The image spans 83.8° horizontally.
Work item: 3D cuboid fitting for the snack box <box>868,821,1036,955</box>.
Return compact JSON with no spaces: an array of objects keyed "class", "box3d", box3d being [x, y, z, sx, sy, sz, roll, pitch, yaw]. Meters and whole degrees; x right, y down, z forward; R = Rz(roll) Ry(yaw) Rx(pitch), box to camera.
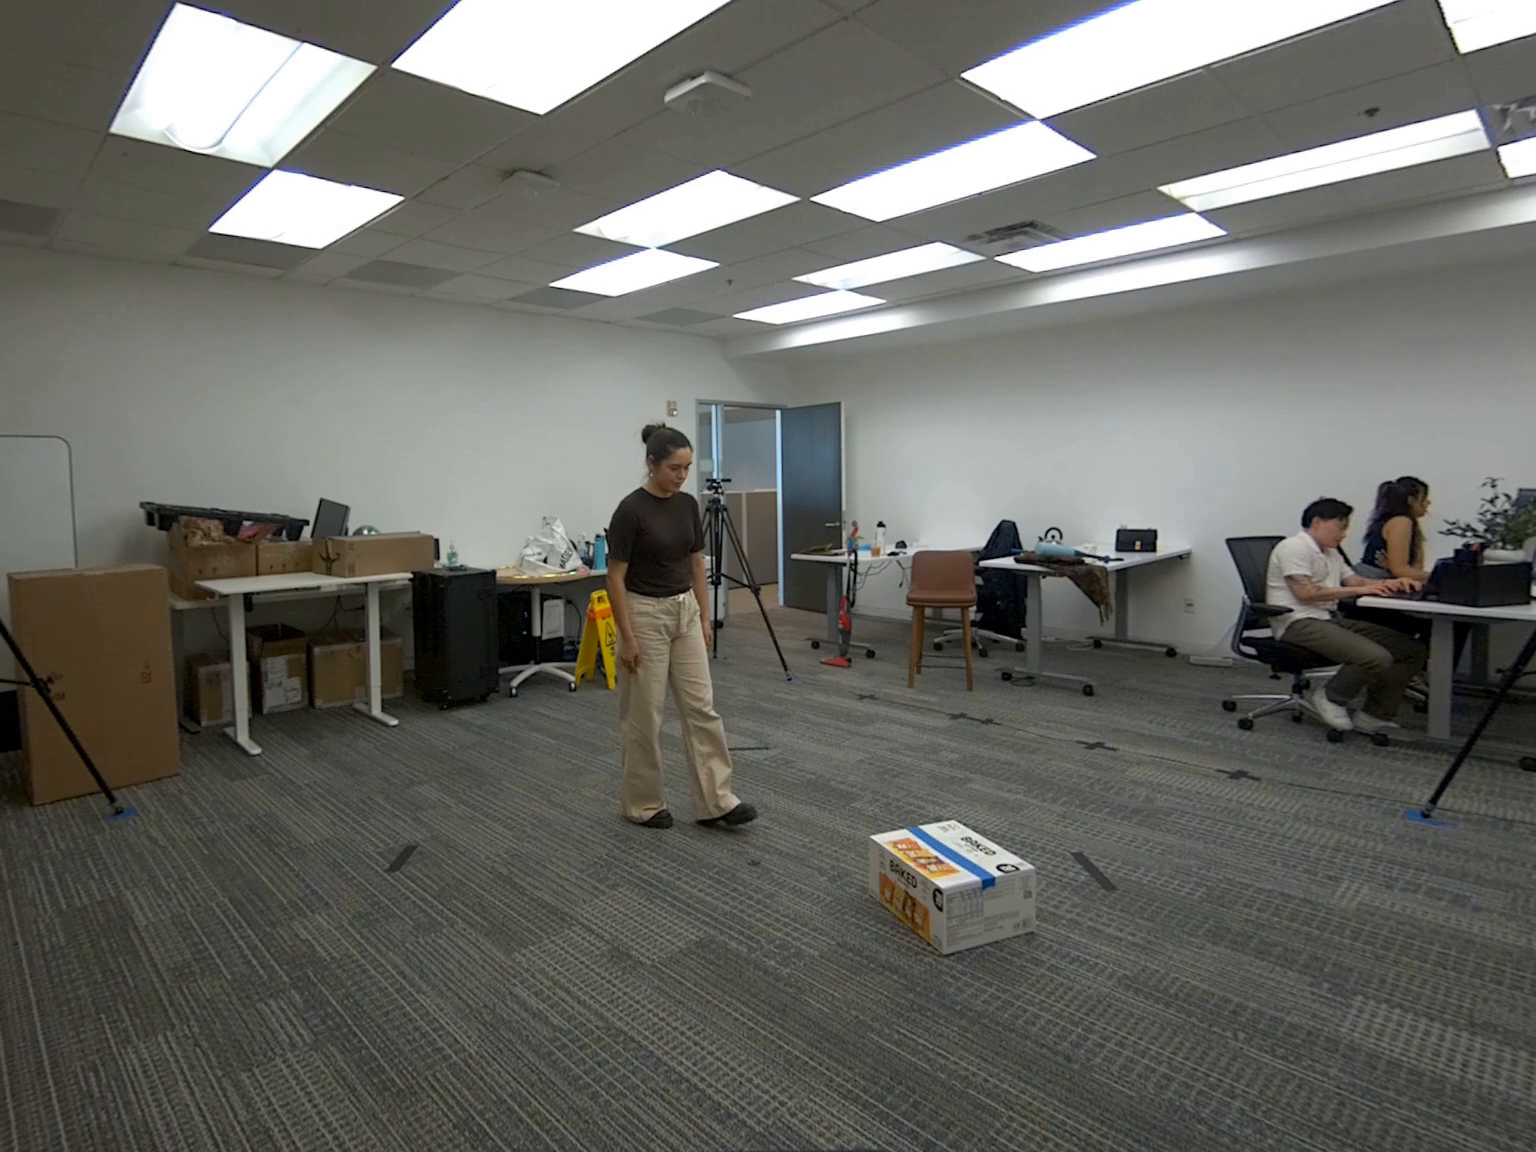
[{"class":"snack box","box3d":[0.583,0.976,2.720,0.334,0.205,0.415,-4,6,-23]}]
